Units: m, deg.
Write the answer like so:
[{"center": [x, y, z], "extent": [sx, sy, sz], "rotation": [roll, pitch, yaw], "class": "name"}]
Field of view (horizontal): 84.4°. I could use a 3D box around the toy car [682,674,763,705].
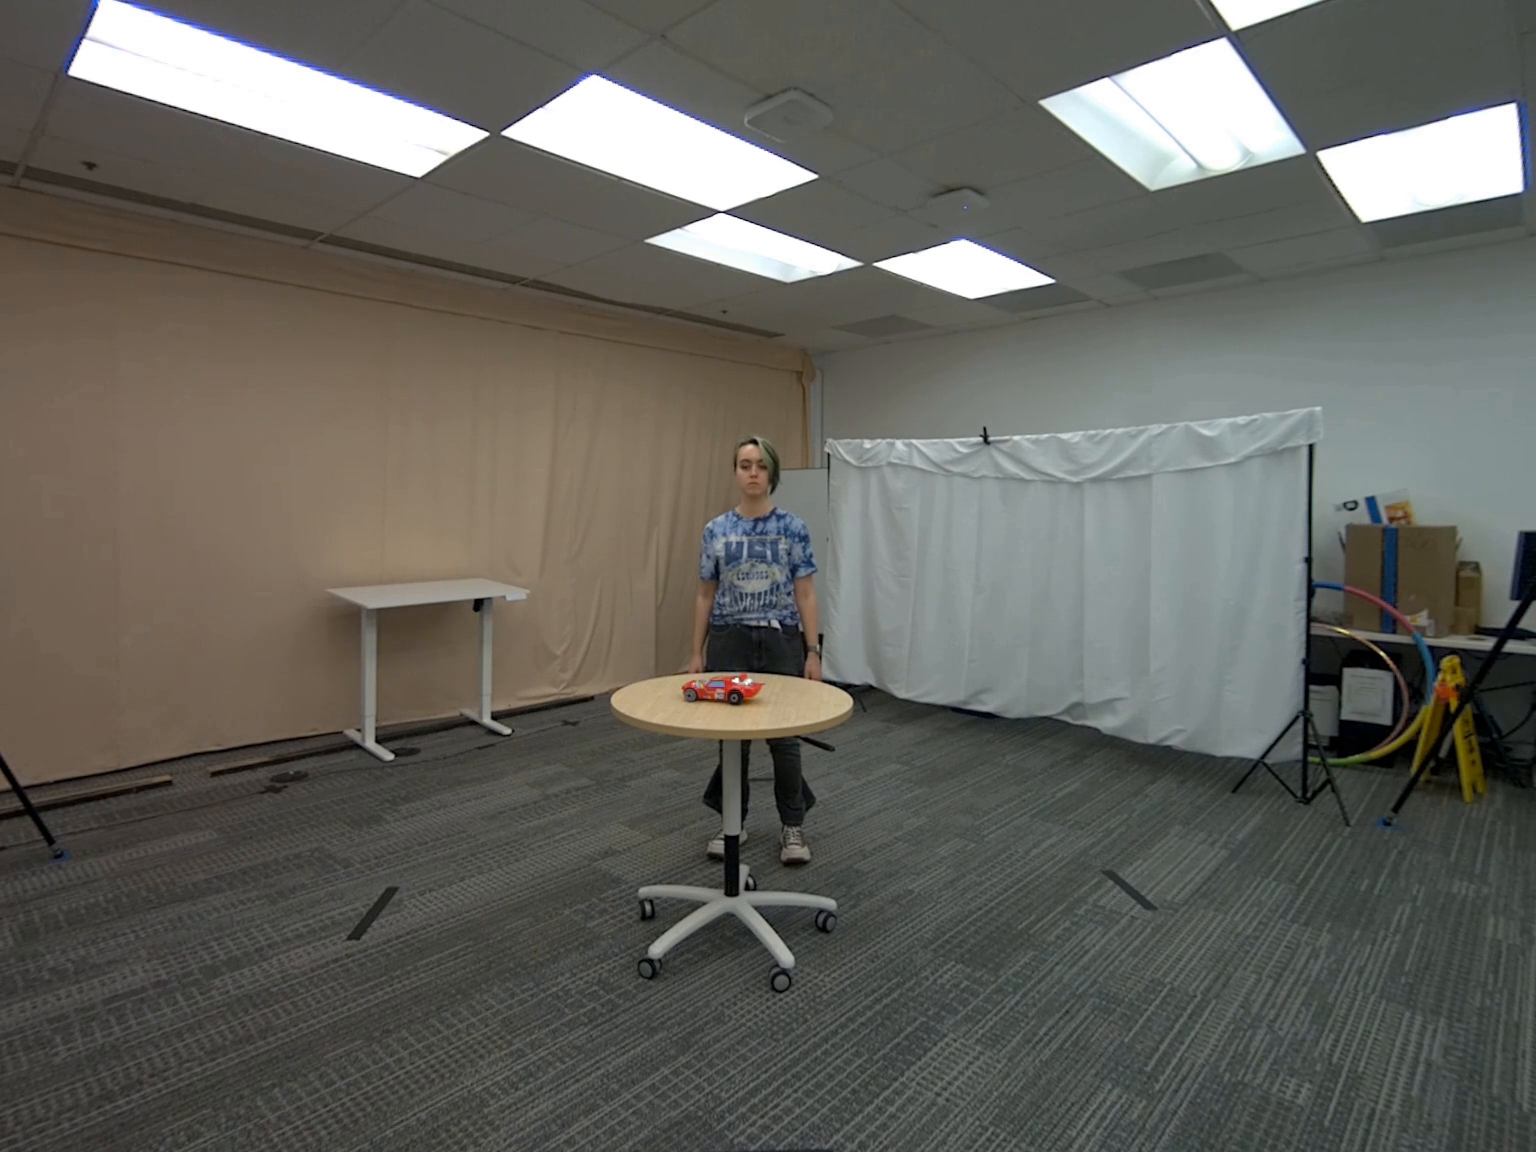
[{"center": [-0.130, 0.358, 2.641], "extent": [0.259, 0.083, 0.128], "rotation": [-9, 2, 17], "class": "toy car"}]
